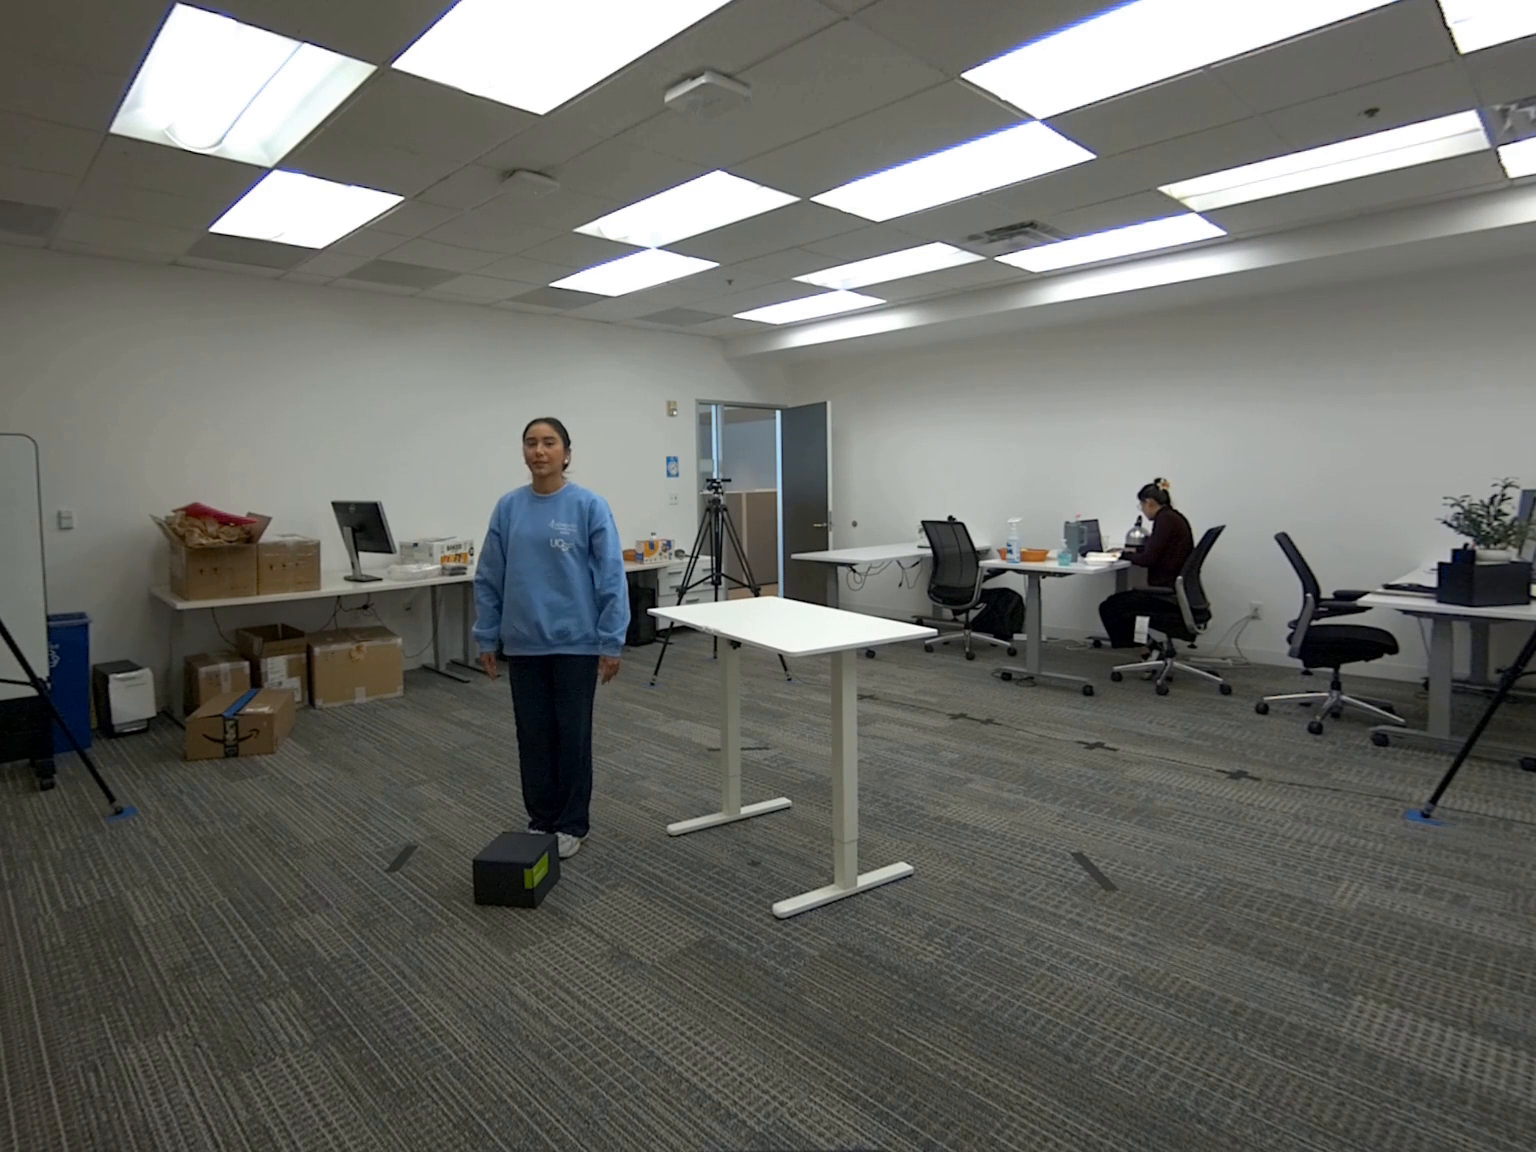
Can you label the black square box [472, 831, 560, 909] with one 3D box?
[{"bbox_3d":[-0.867,1.005,2.927,0.219,0.155,0.227,-1,6,10],"label":"black square box"}]
